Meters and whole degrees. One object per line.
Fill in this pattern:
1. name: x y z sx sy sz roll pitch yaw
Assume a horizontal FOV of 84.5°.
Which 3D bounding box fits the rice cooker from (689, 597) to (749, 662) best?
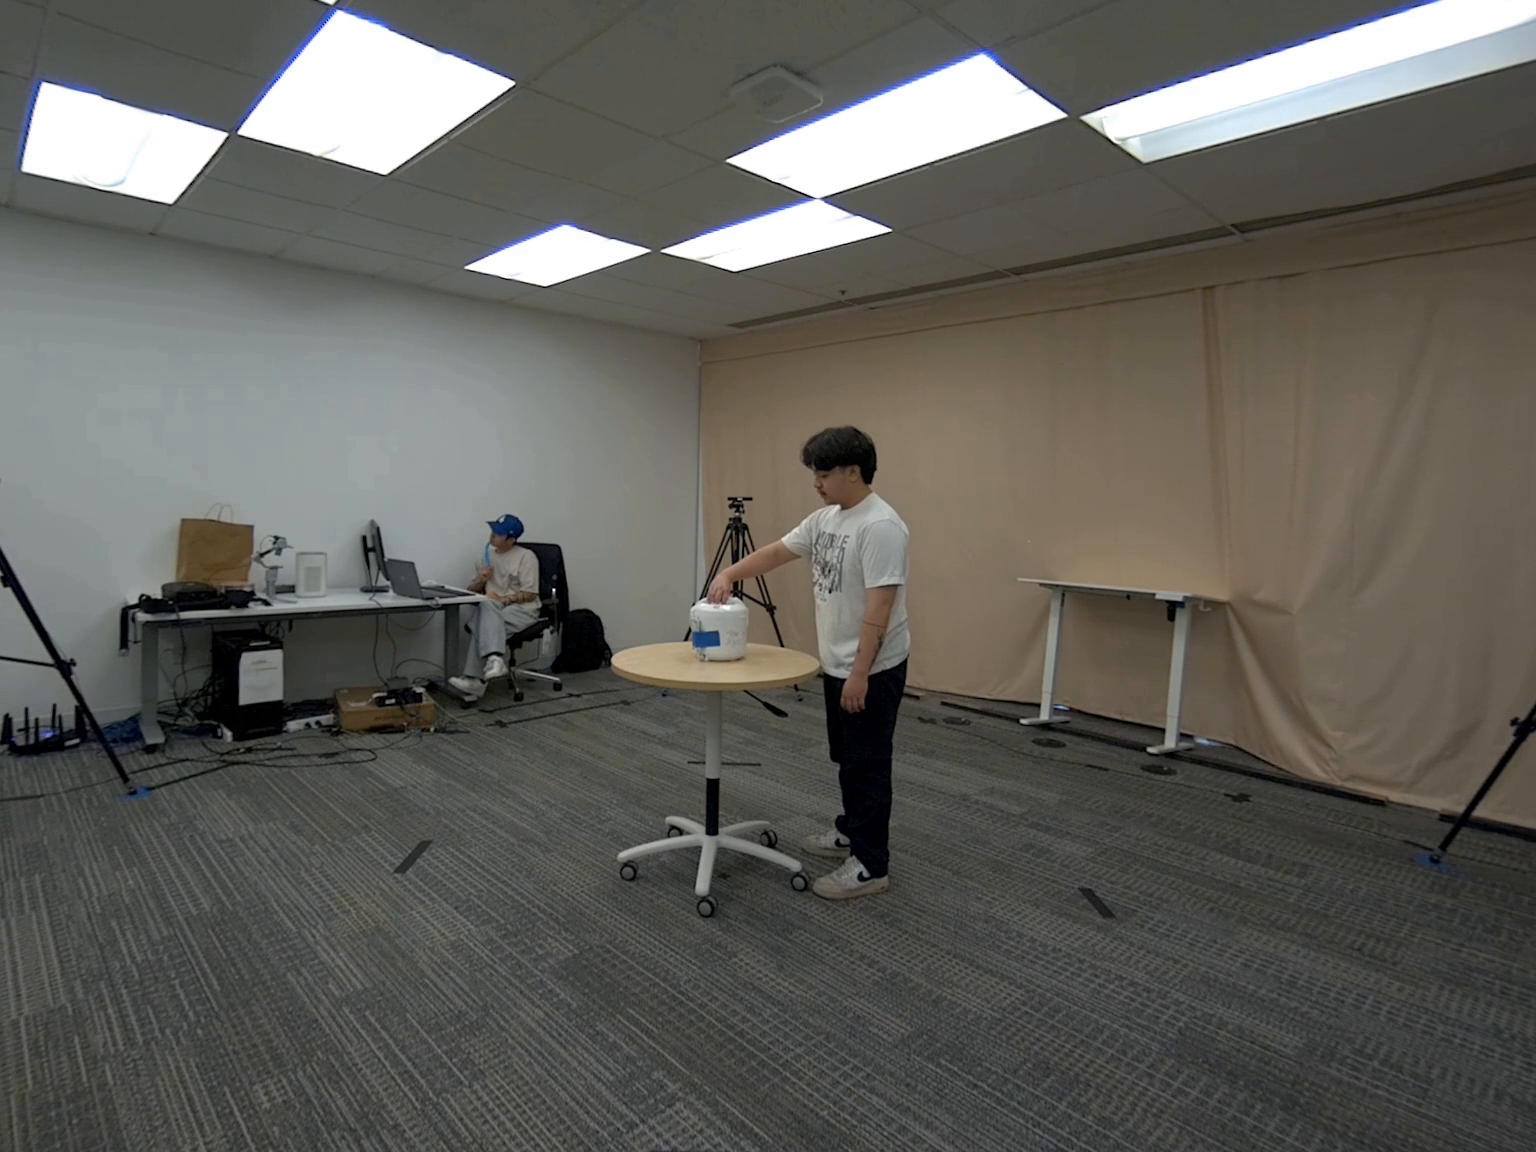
1. rice cooker: -0.190 0.186 3.150 0.220 0.232 0.219 2 4 -5
